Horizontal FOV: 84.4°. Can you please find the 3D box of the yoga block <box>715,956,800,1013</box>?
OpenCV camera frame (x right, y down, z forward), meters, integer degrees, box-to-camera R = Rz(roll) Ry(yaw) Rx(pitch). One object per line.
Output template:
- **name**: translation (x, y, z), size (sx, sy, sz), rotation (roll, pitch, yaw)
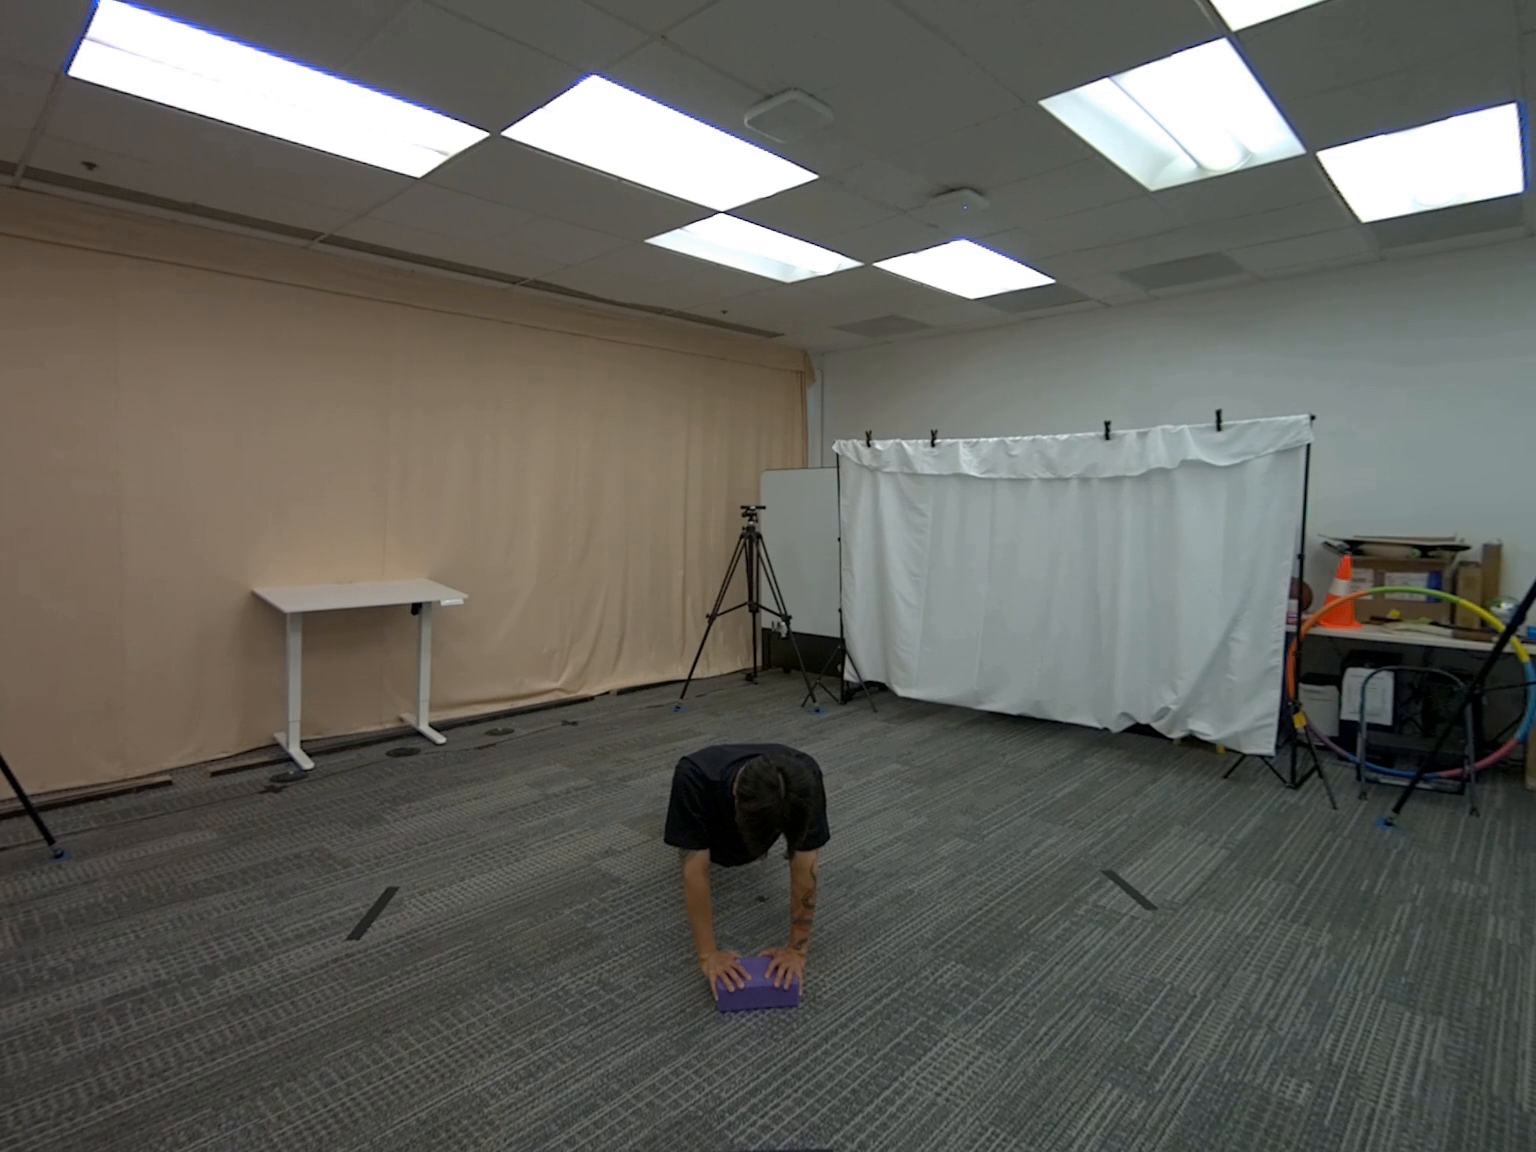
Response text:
- **yoga block**: translation (-0.037, 1.150, 2.394), size (0.227, 0.076, 0.151), rotation (-1, 4, -9)
